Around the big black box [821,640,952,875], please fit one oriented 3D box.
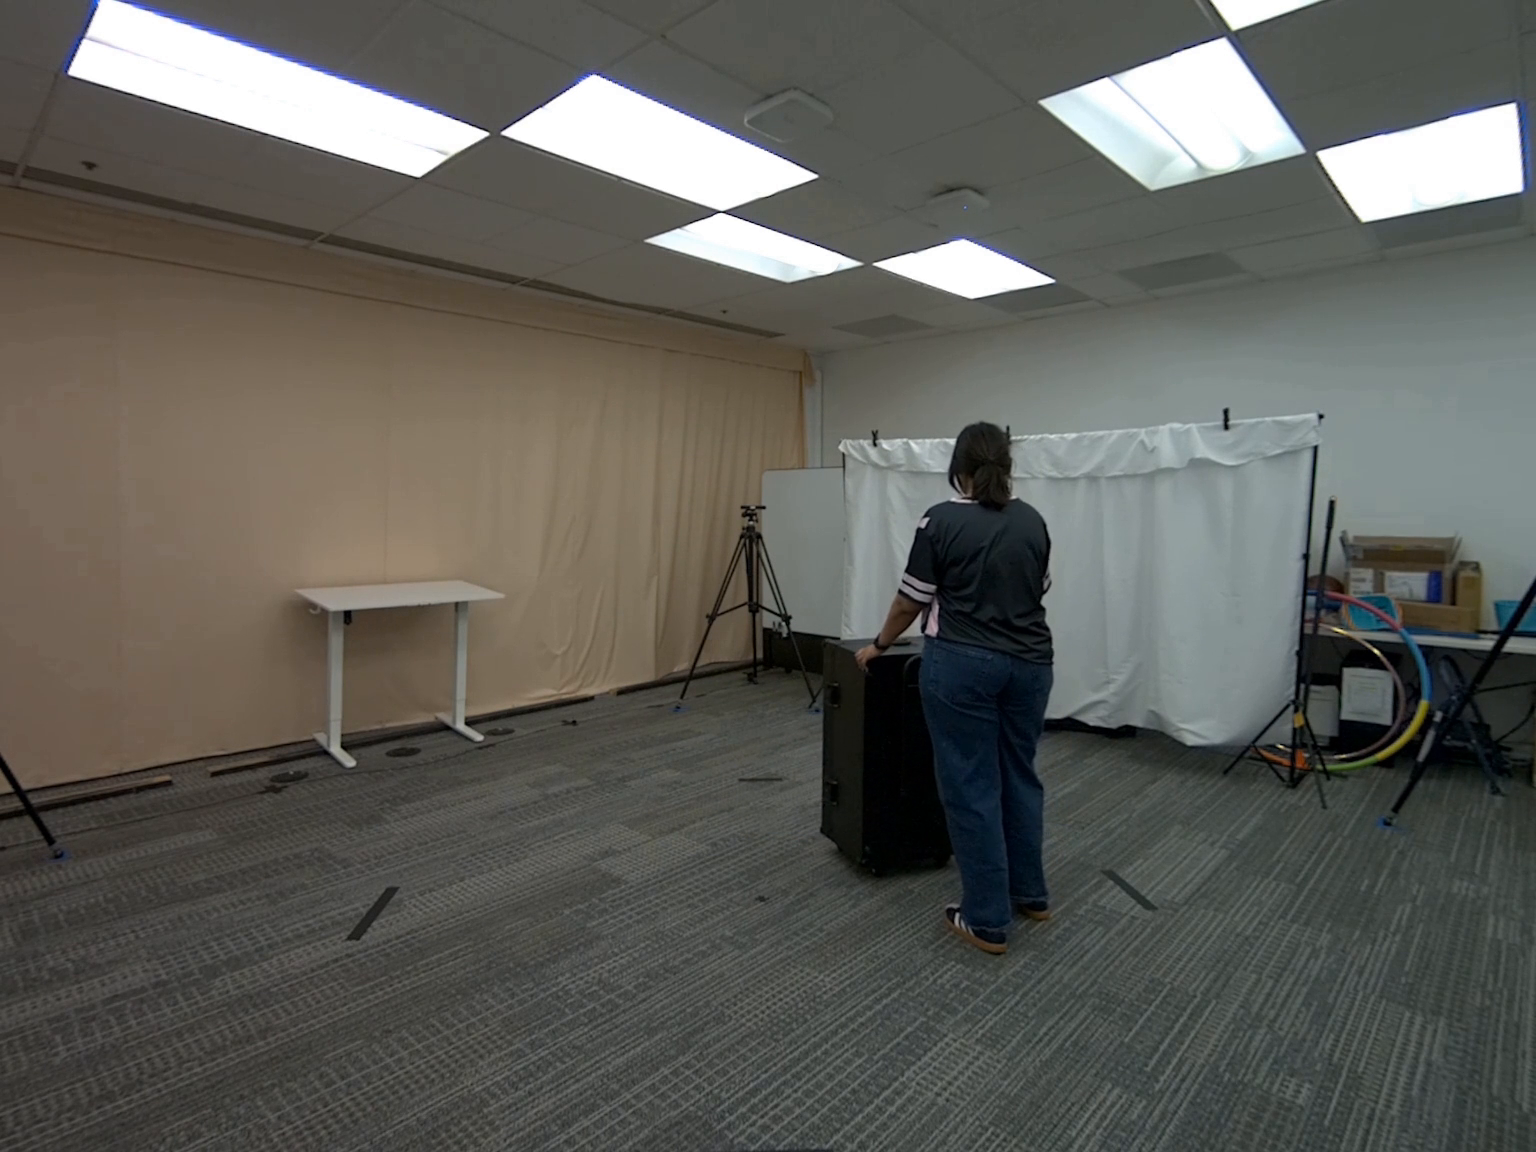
[{"bbox_3d":[0.515,0.692,3.289,0.513,0.866,0.394,-1,4,-20],"label":"big black box"}]
